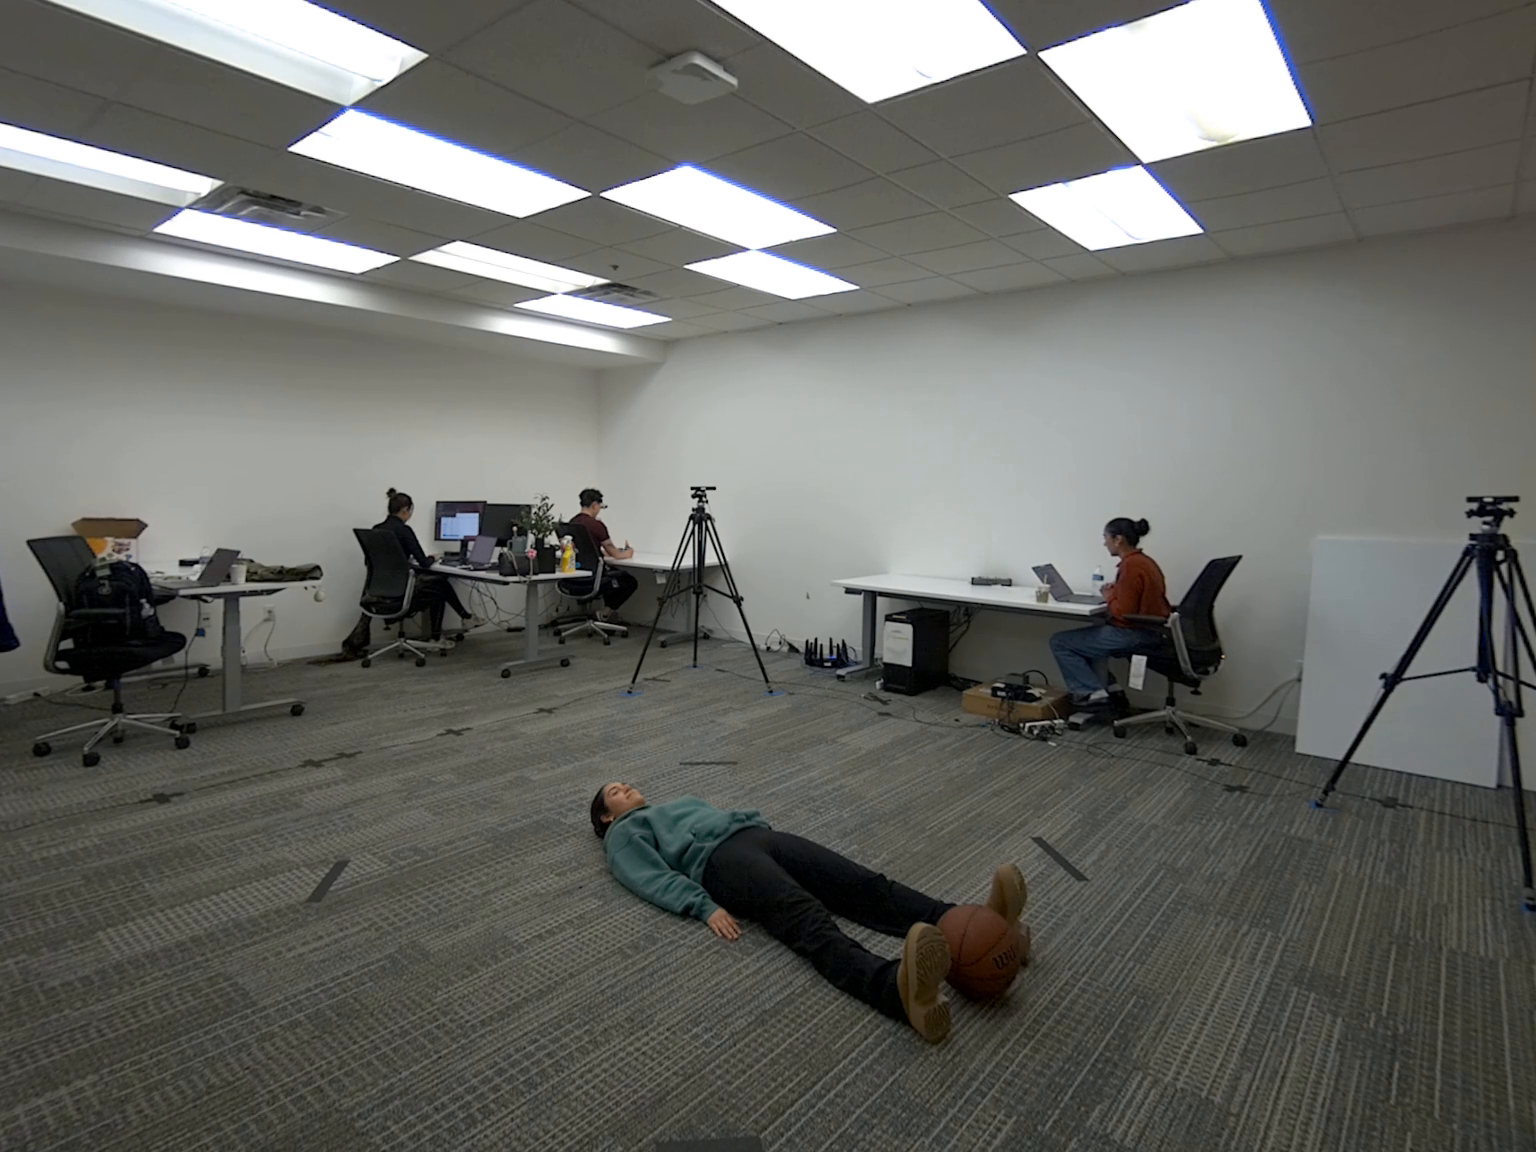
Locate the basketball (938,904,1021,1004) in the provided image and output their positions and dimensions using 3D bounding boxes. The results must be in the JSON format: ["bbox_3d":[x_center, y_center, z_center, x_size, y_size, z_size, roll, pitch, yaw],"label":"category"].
[{"bbox_3d":[0.571,1.035,2.378,0.236,0.235,0.237,0,4,-2],"label":"basketball"}]
